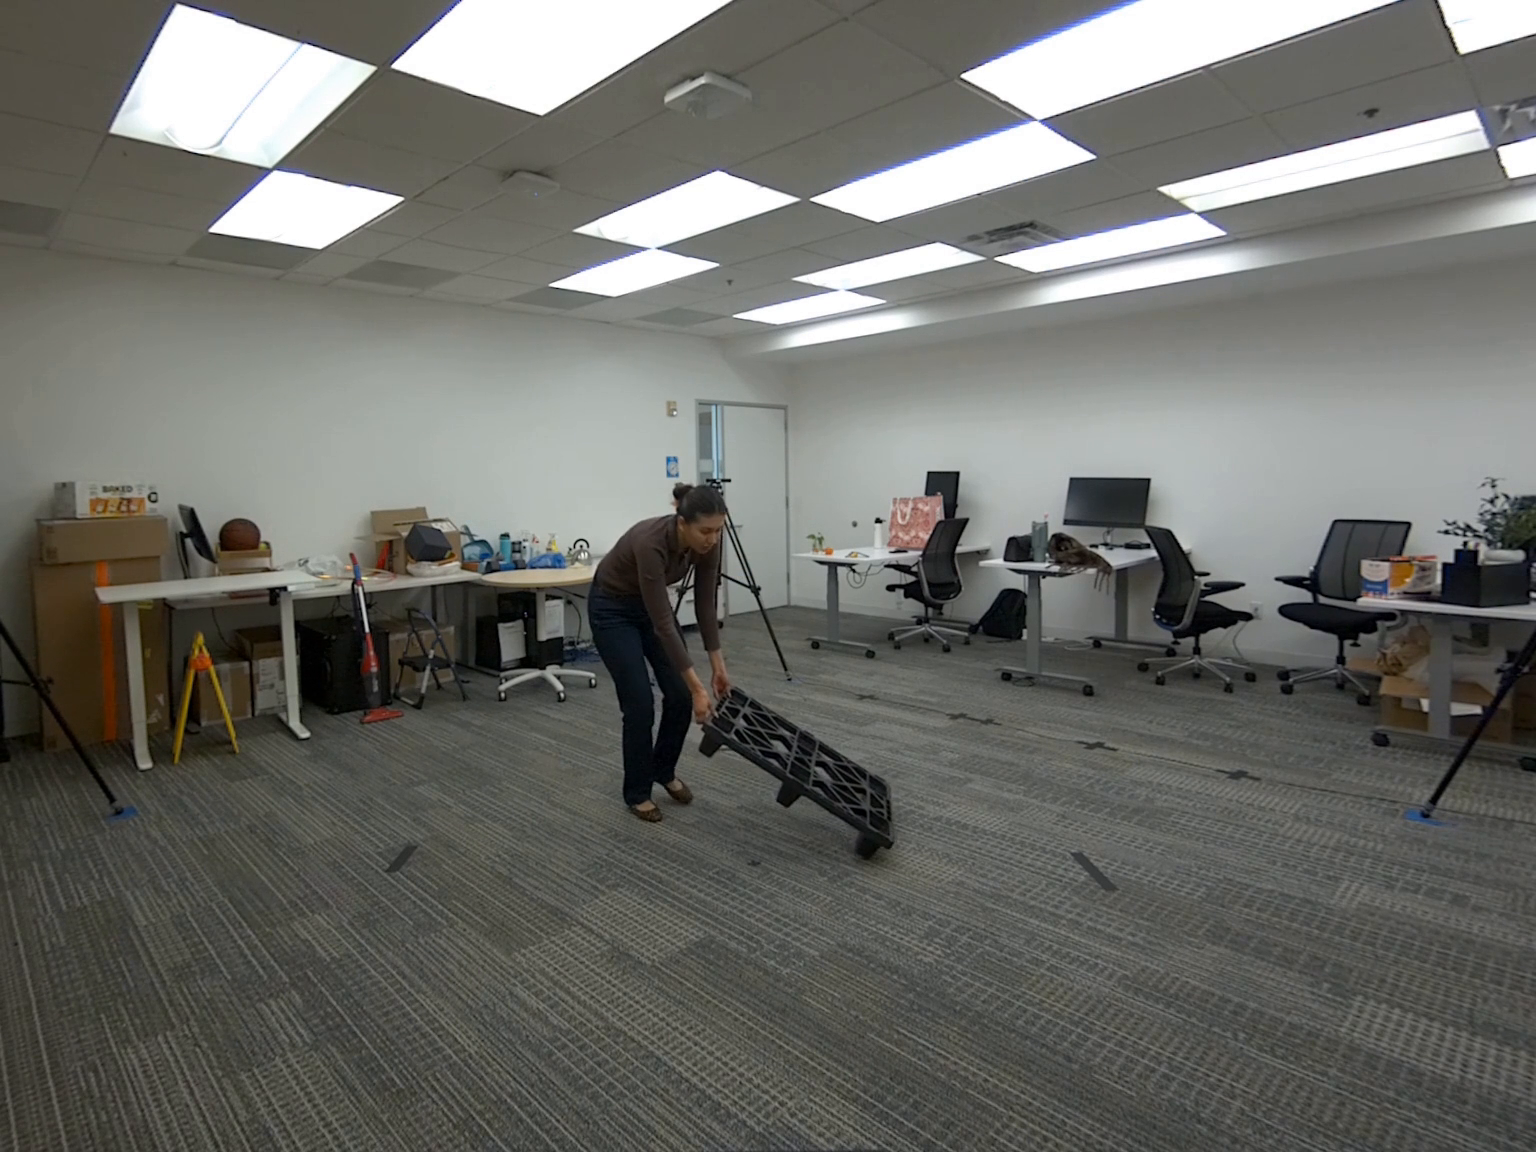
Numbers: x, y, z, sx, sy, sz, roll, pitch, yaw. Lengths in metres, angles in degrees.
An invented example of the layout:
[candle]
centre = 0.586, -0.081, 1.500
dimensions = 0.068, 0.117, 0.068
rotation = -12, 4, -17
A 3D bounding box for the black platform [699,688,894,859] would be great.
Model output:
[black platform]
centre = 0.106, 0.761, 3.385
dimensions = 0.812, 0.143, 0.602
rotation = 32, 8, 5
